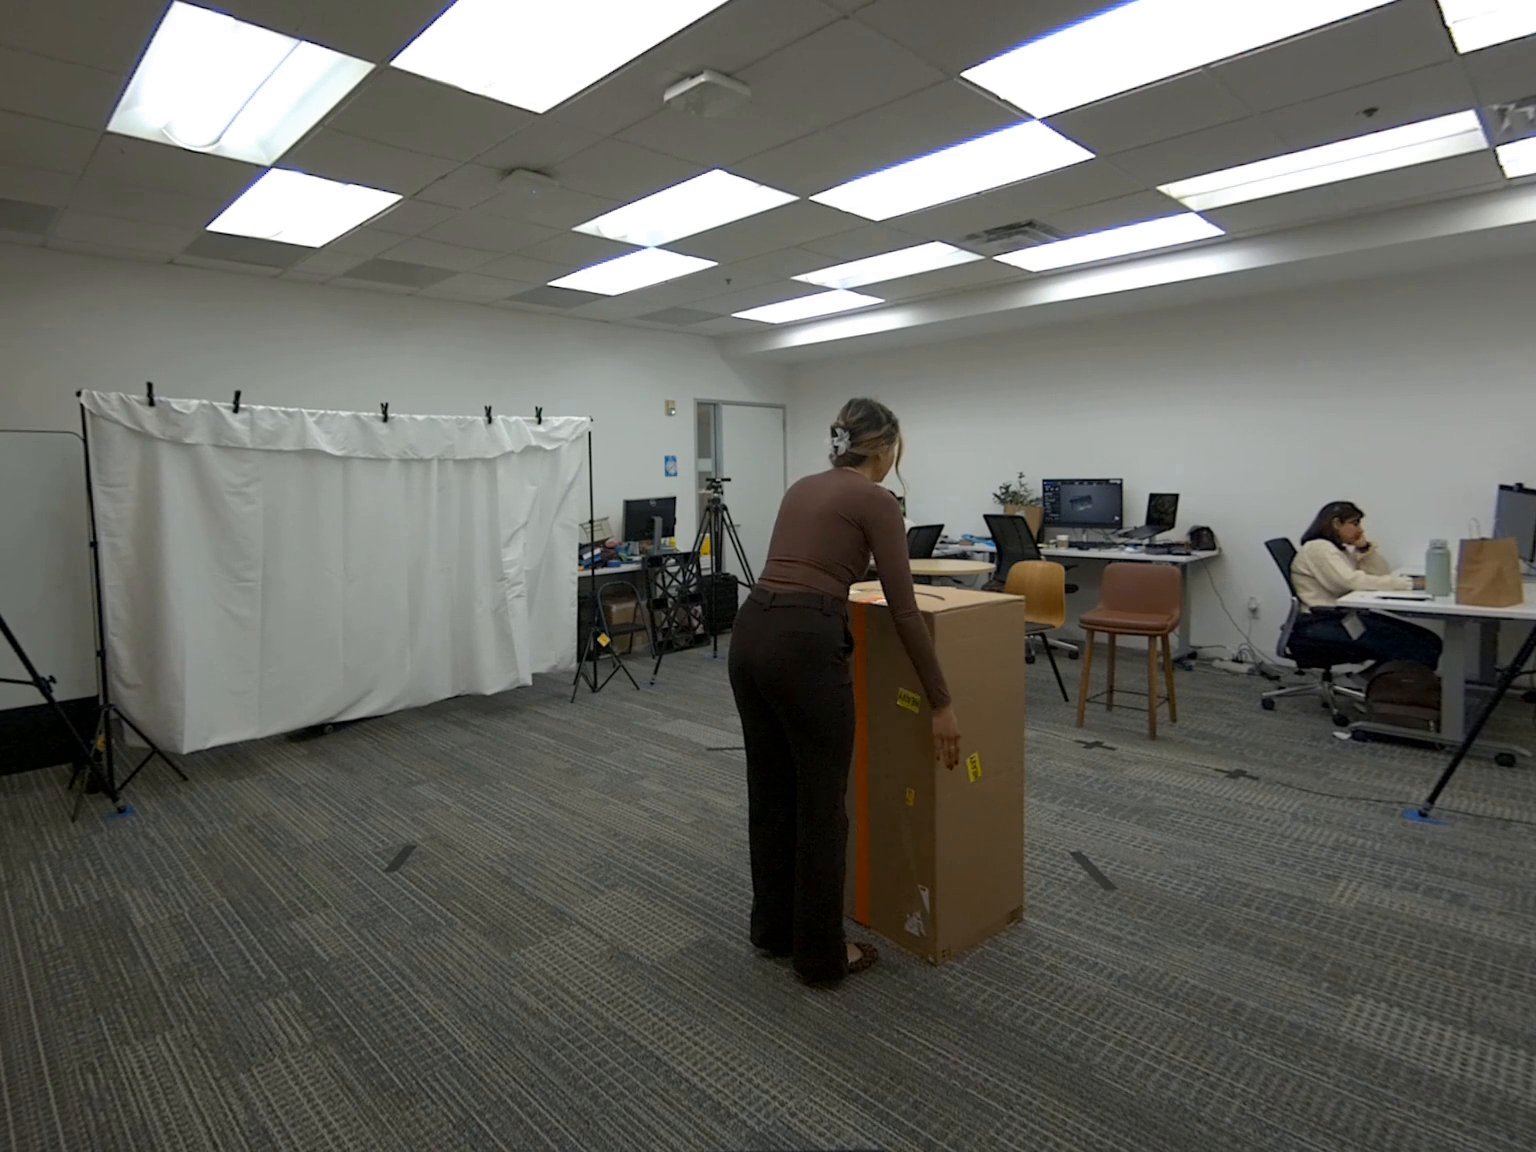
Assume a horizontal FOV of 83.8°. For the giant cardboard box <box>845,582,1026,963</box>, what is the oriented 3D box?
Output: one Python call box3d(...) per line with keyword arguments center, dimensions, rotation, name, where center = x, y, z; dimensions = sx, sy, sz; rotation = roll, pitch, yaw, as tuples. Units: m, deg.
box3d(center=(0.453, 0.564, 2.751), dimensions=(0.435, 1.023, 0.601), rotation=(-5, 6, -37), name="giant cardboard box")
